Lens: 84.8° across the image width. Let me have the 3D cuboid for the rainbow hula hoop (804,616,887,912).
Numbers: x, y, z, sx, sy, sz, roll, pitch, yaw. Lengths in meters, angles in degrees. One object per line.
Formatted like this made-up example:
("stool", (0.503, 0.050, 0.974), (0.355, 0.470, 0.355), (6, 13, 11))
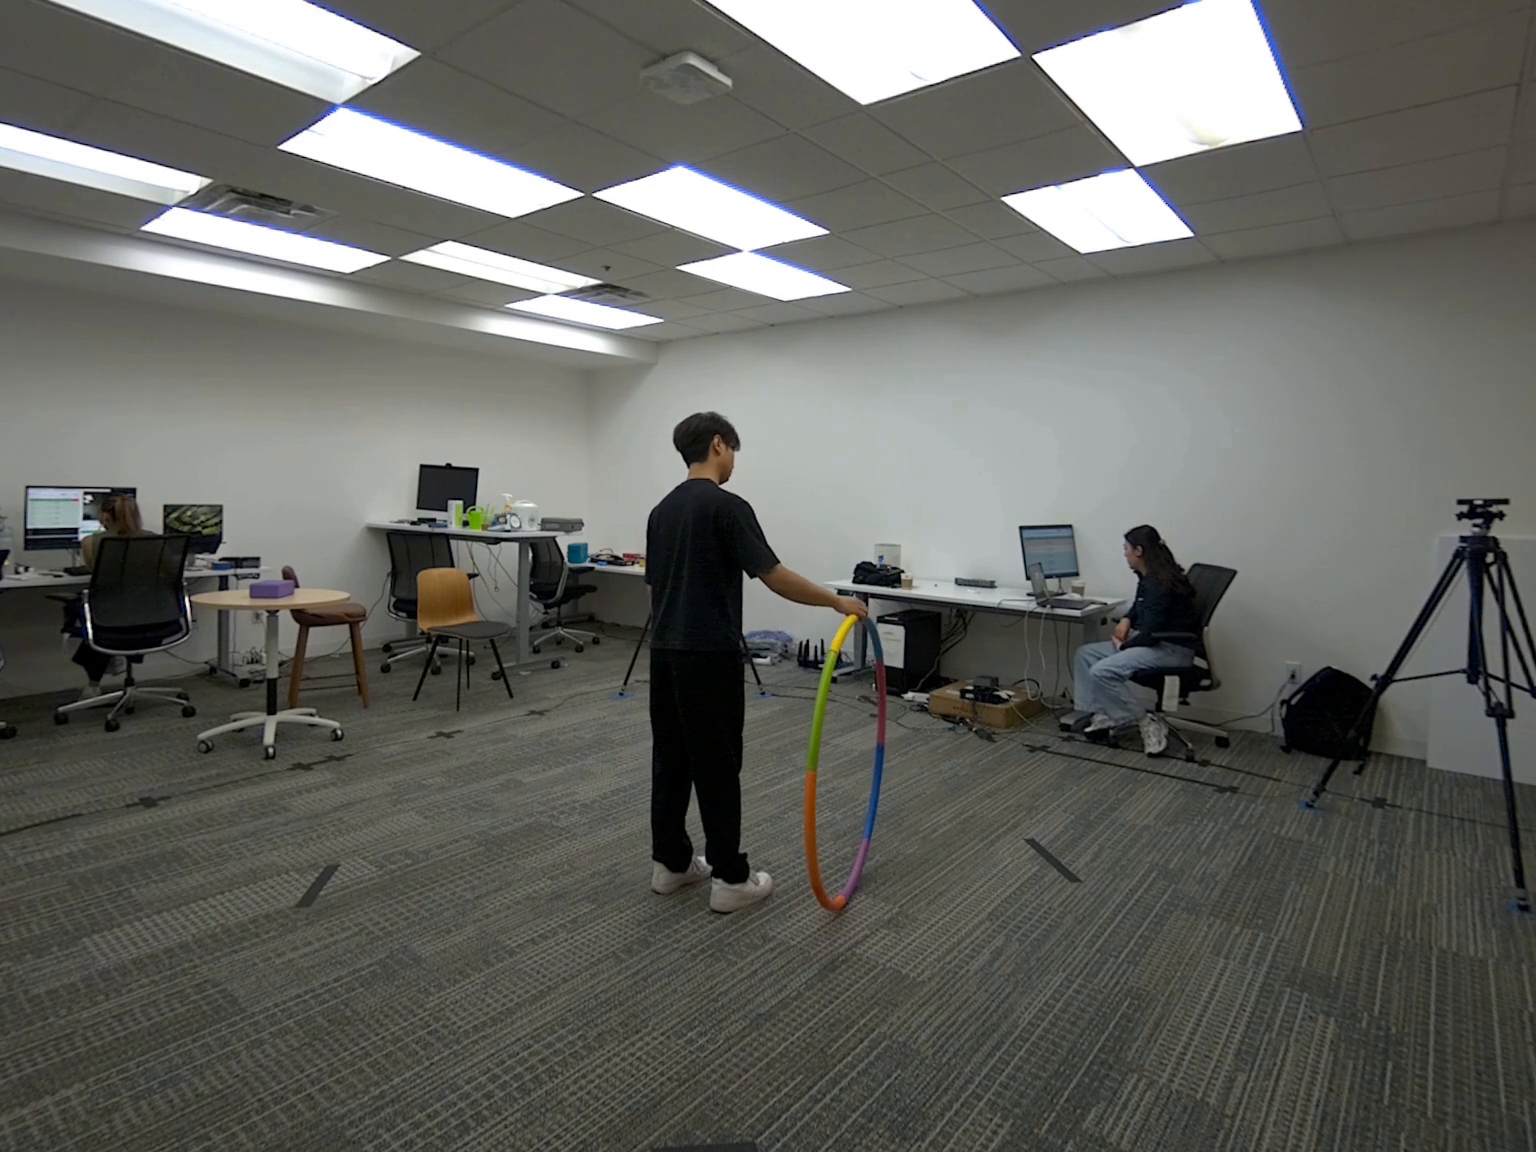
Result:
("rainbow hula hoop", (0.271, 0.614, 2.905), (0.036, 0.975, 0.959), (3, 4, 20))
